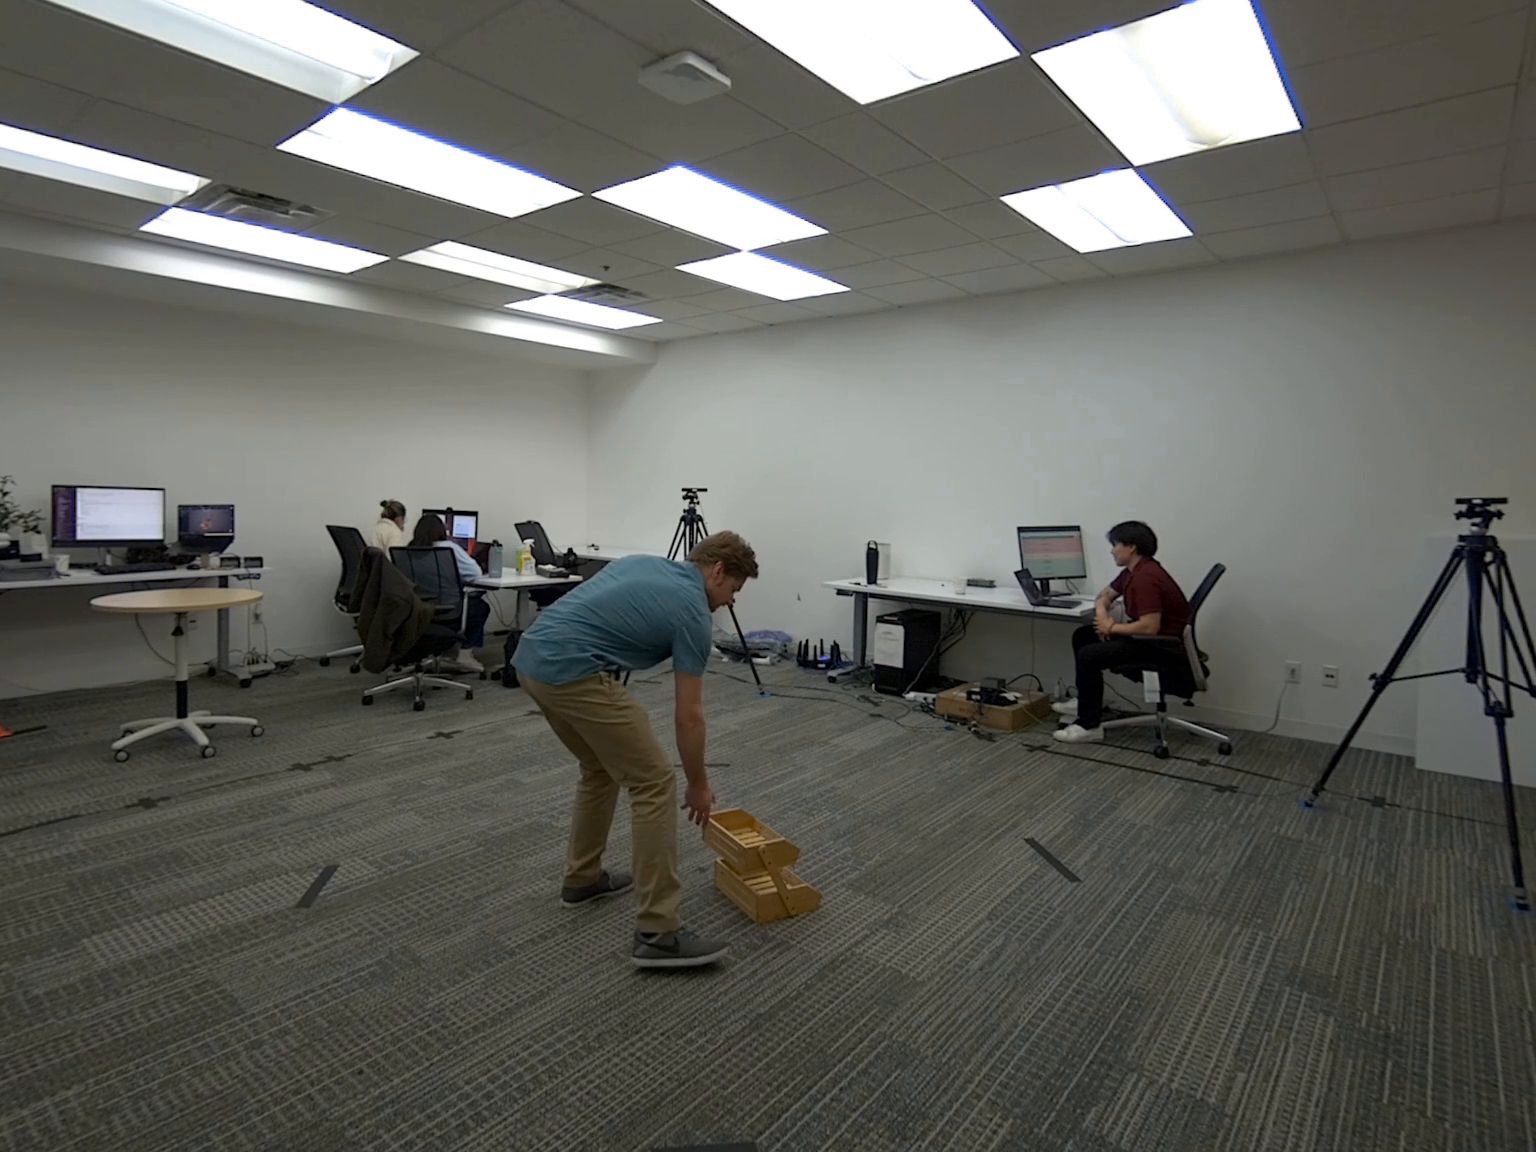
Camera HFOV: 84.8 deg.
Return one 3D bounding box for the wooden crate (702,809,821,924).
[{"bbox_3d":[-0.029,0.960,2.888,0.294,0.272,0.334,-2,5,-31],"label":"wooden crate"}]
